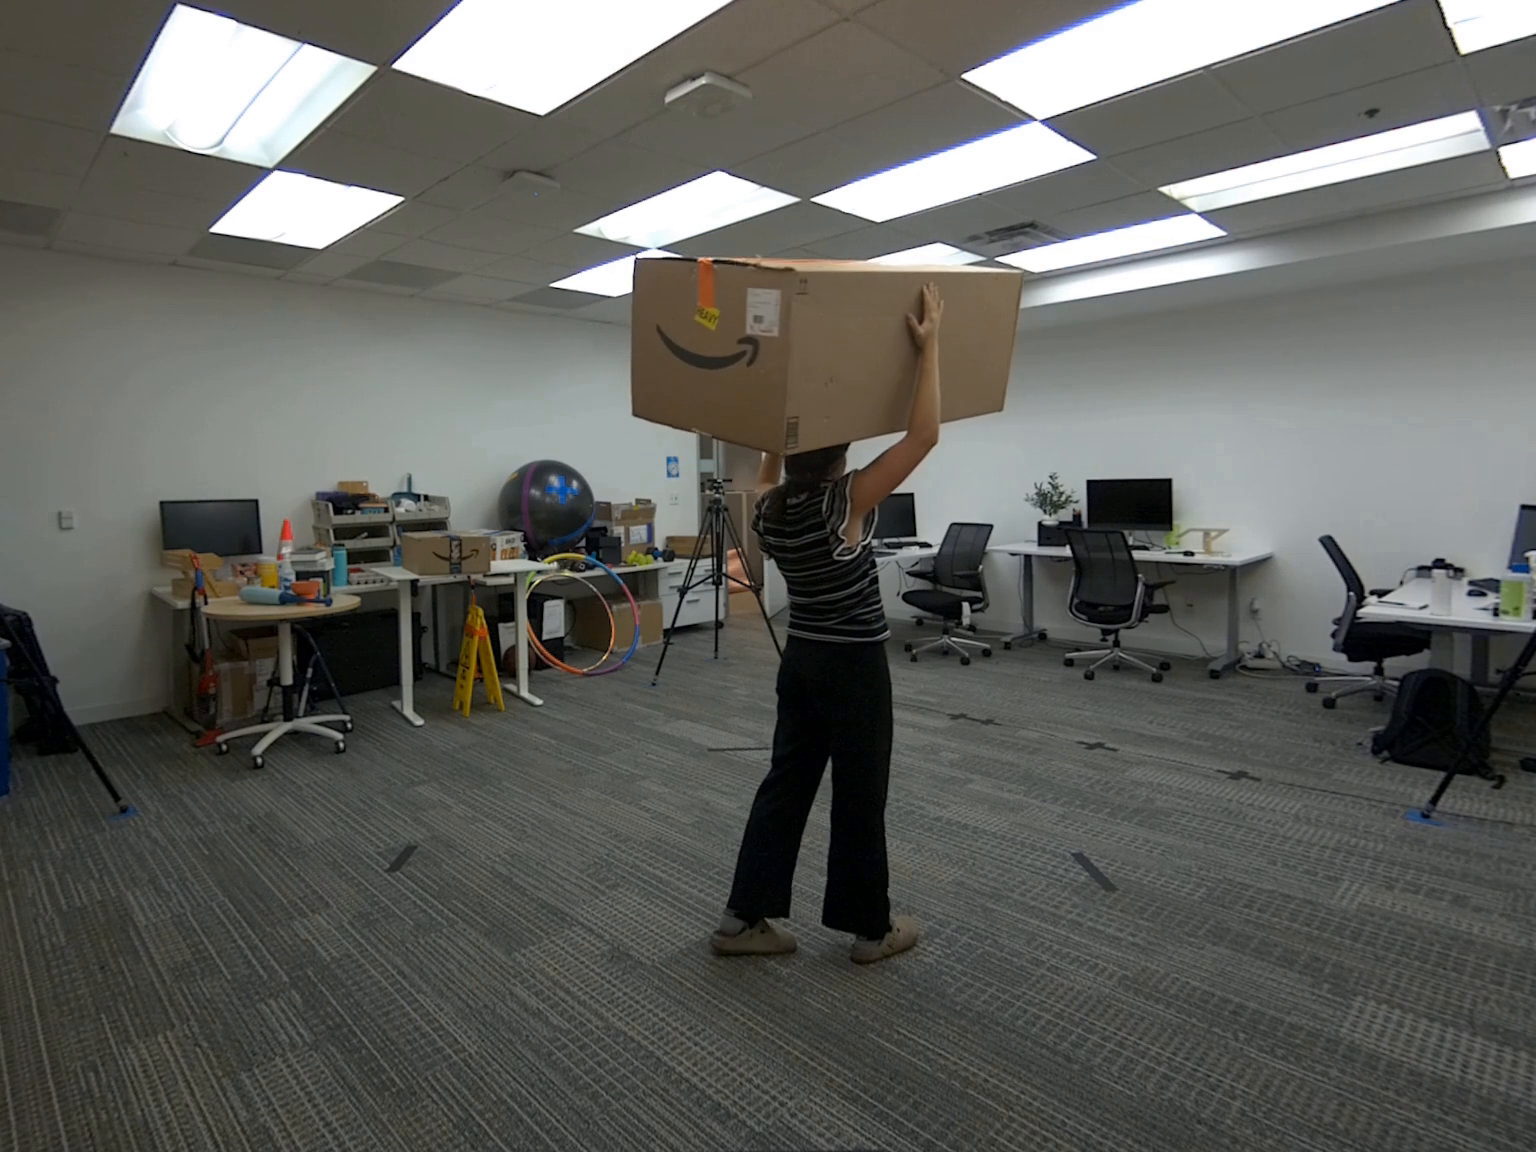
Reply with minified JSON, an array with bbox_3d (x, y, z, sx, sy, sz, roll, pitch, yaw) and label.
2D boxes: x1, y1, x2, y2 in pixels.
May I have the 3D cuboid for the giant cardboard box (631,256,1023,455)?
[{"bbox_3d":[0.187,-0.670,2.450,0.599,0.419,1.006,21,28,40],"label":"giant cardboard box"}]
